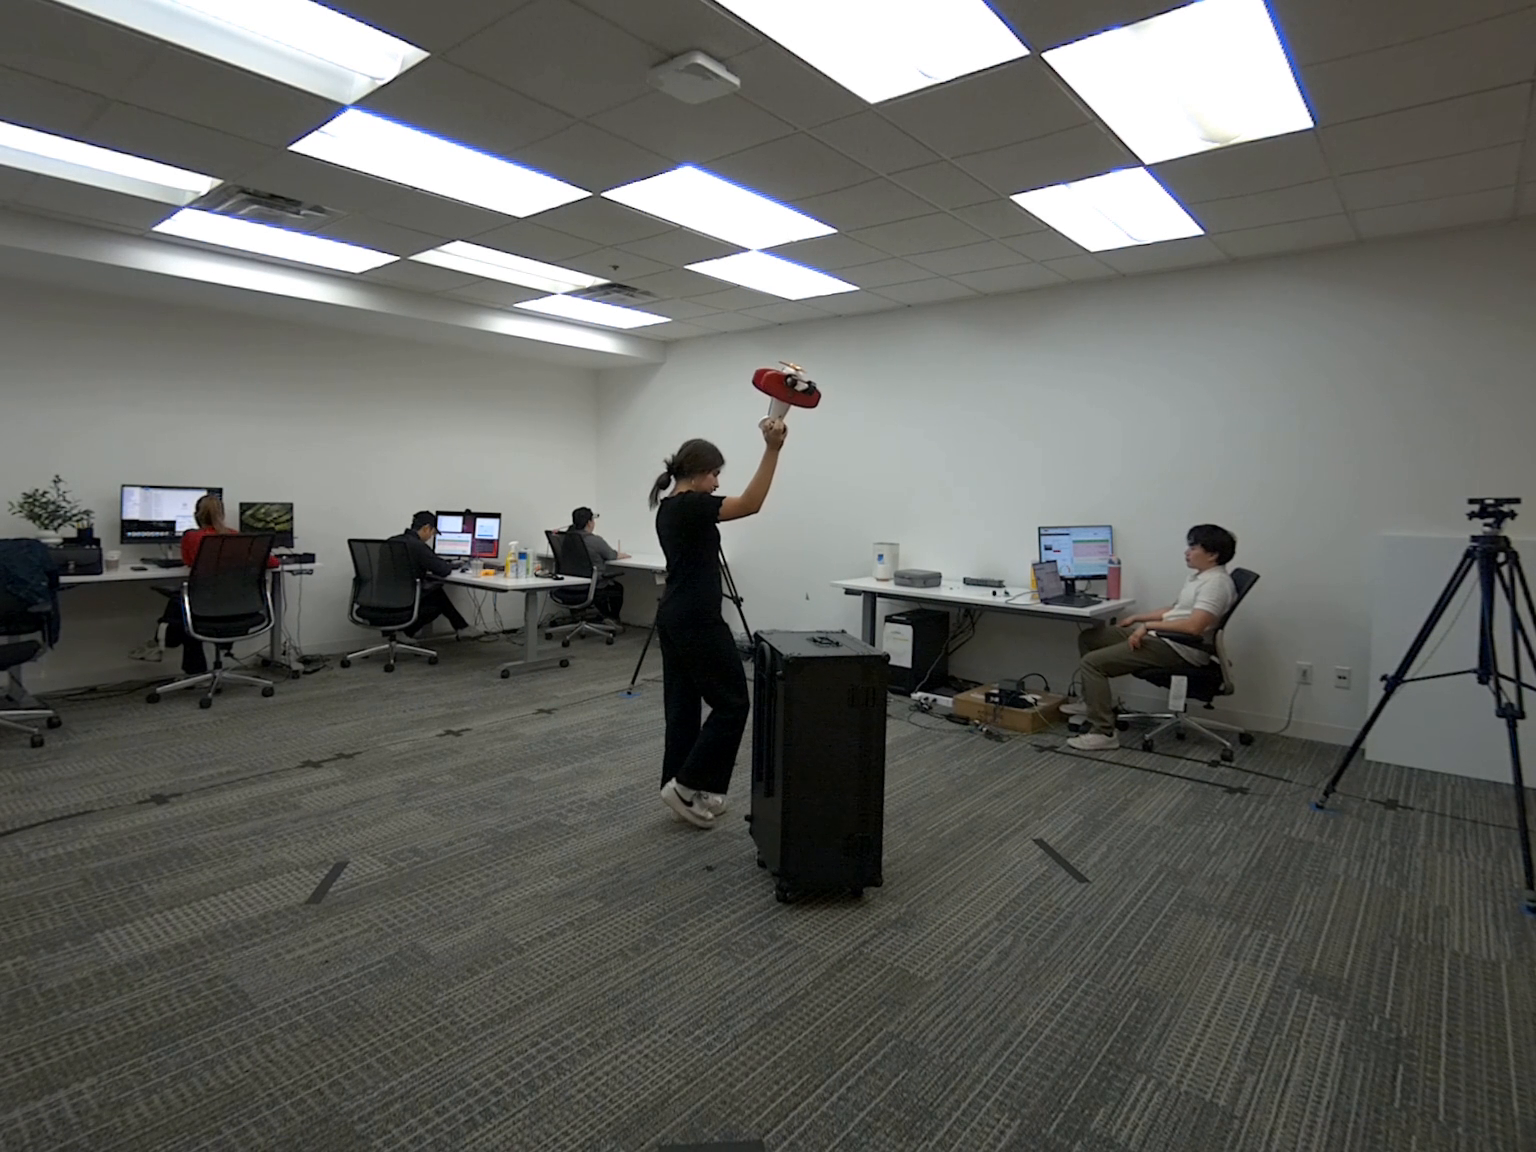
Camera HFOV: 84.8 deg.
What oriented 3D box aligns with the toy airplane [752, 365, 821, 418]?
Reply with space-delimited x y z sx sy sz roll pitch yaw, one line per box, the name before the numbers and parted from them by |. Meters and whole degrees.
toy airplane | 0.042 -0.659 3.125 0.241 0.259 0.163 48 8 -39
